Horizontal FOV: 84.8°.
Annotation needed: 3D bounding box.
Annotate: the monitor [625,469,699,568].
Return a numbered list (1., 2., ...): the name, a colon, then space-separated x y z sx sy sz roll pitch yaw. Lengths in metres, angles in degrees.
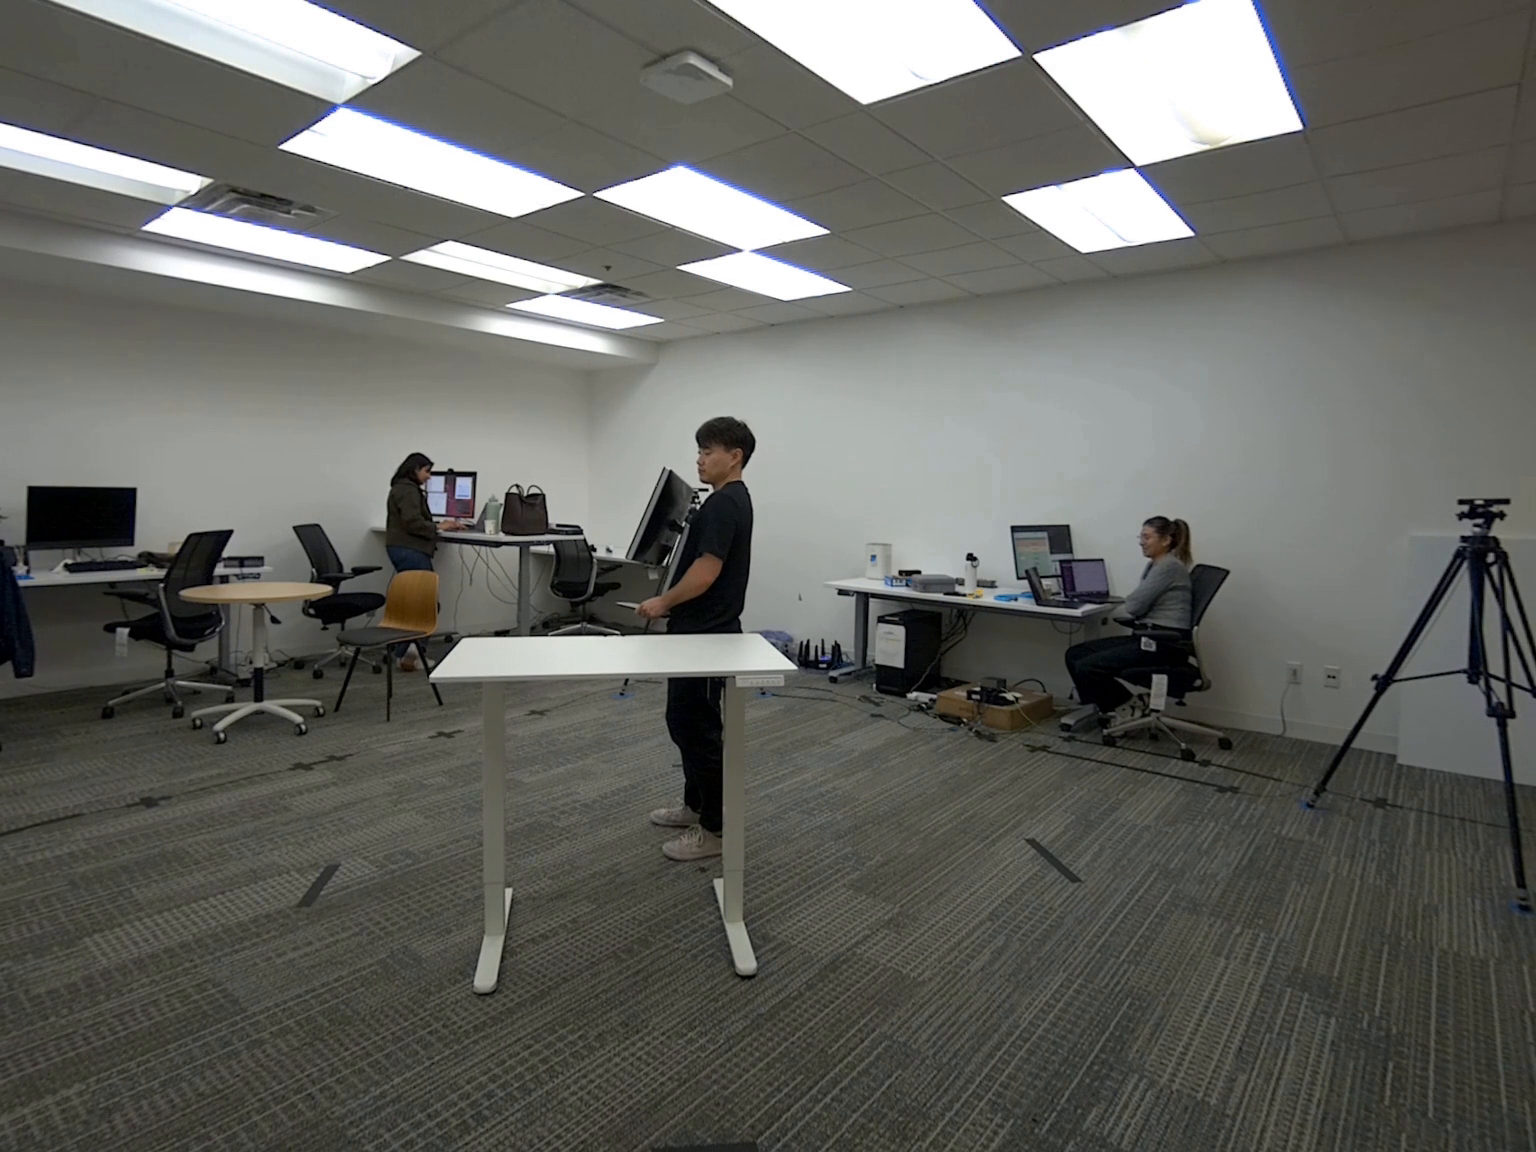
1. monitor: -0.419 -0.124 3.339 0.188 0.524 0.534 11 -3 4
